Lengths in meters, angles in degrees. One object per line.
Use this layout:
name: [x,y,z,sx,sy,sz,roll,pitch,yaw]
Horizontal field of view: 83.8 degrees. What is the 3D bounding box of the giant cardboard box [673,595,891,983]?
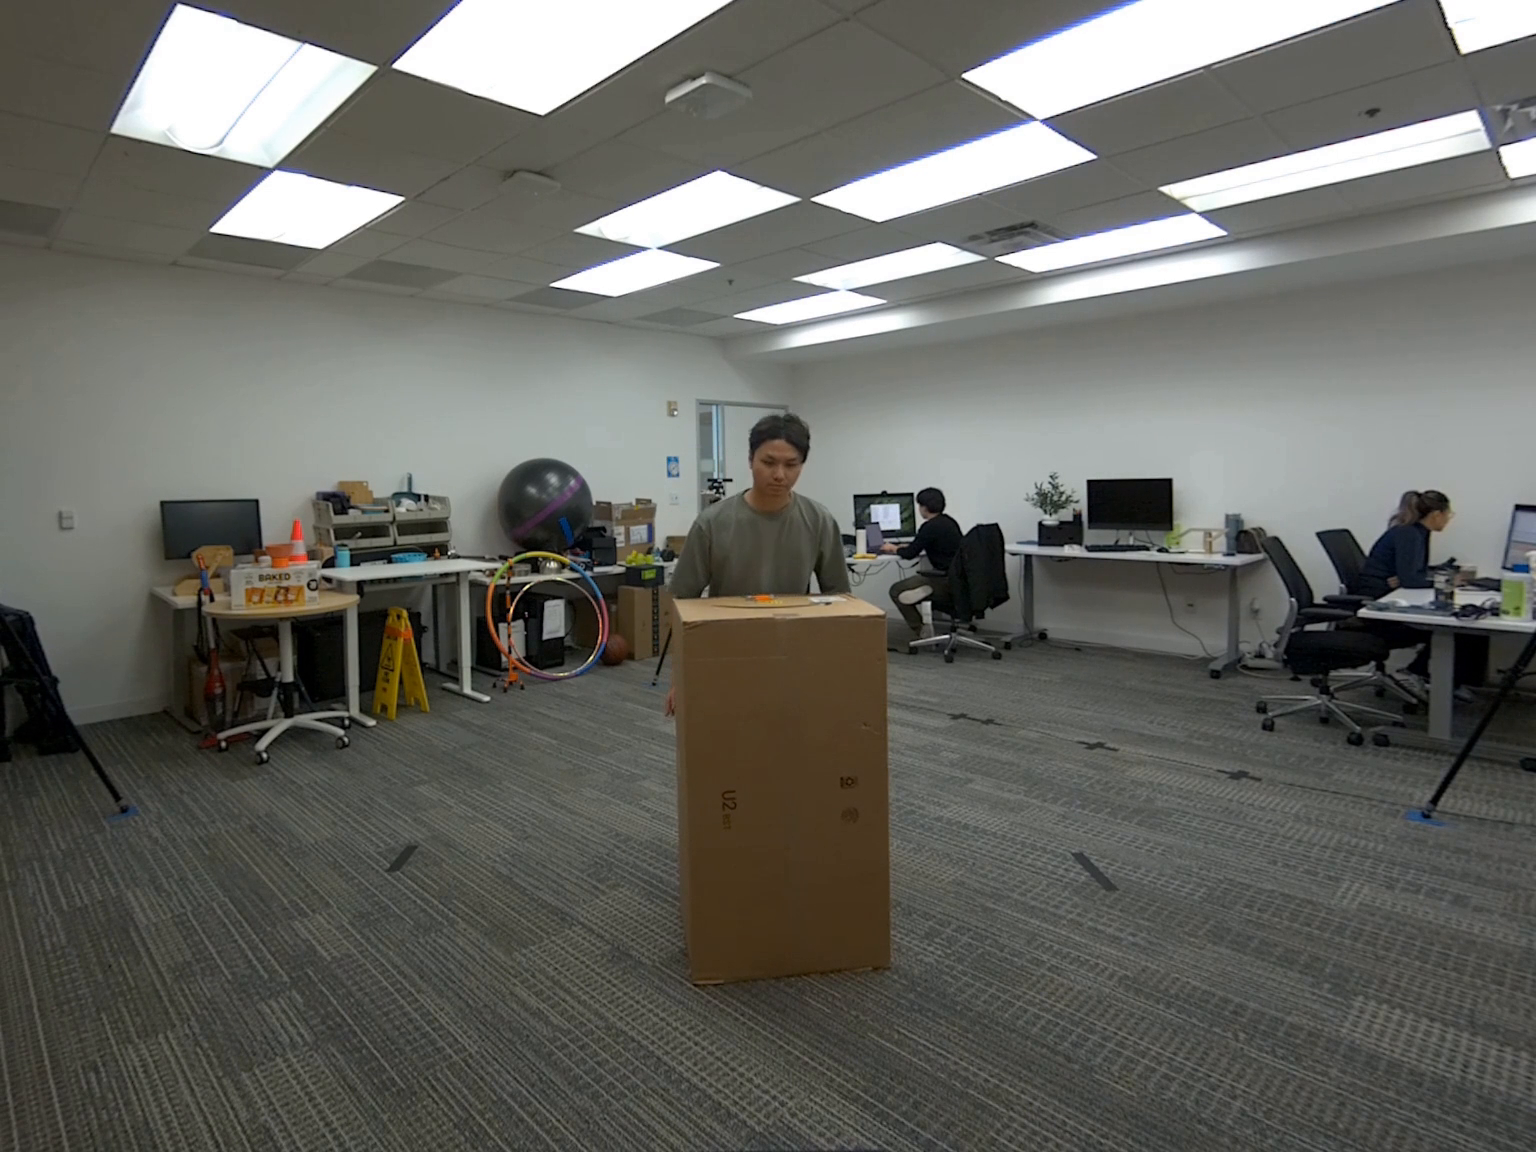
giant cardboard box: [0.022,0.600,2.560,0.574,1.021,0.431,-1,5,-7]
